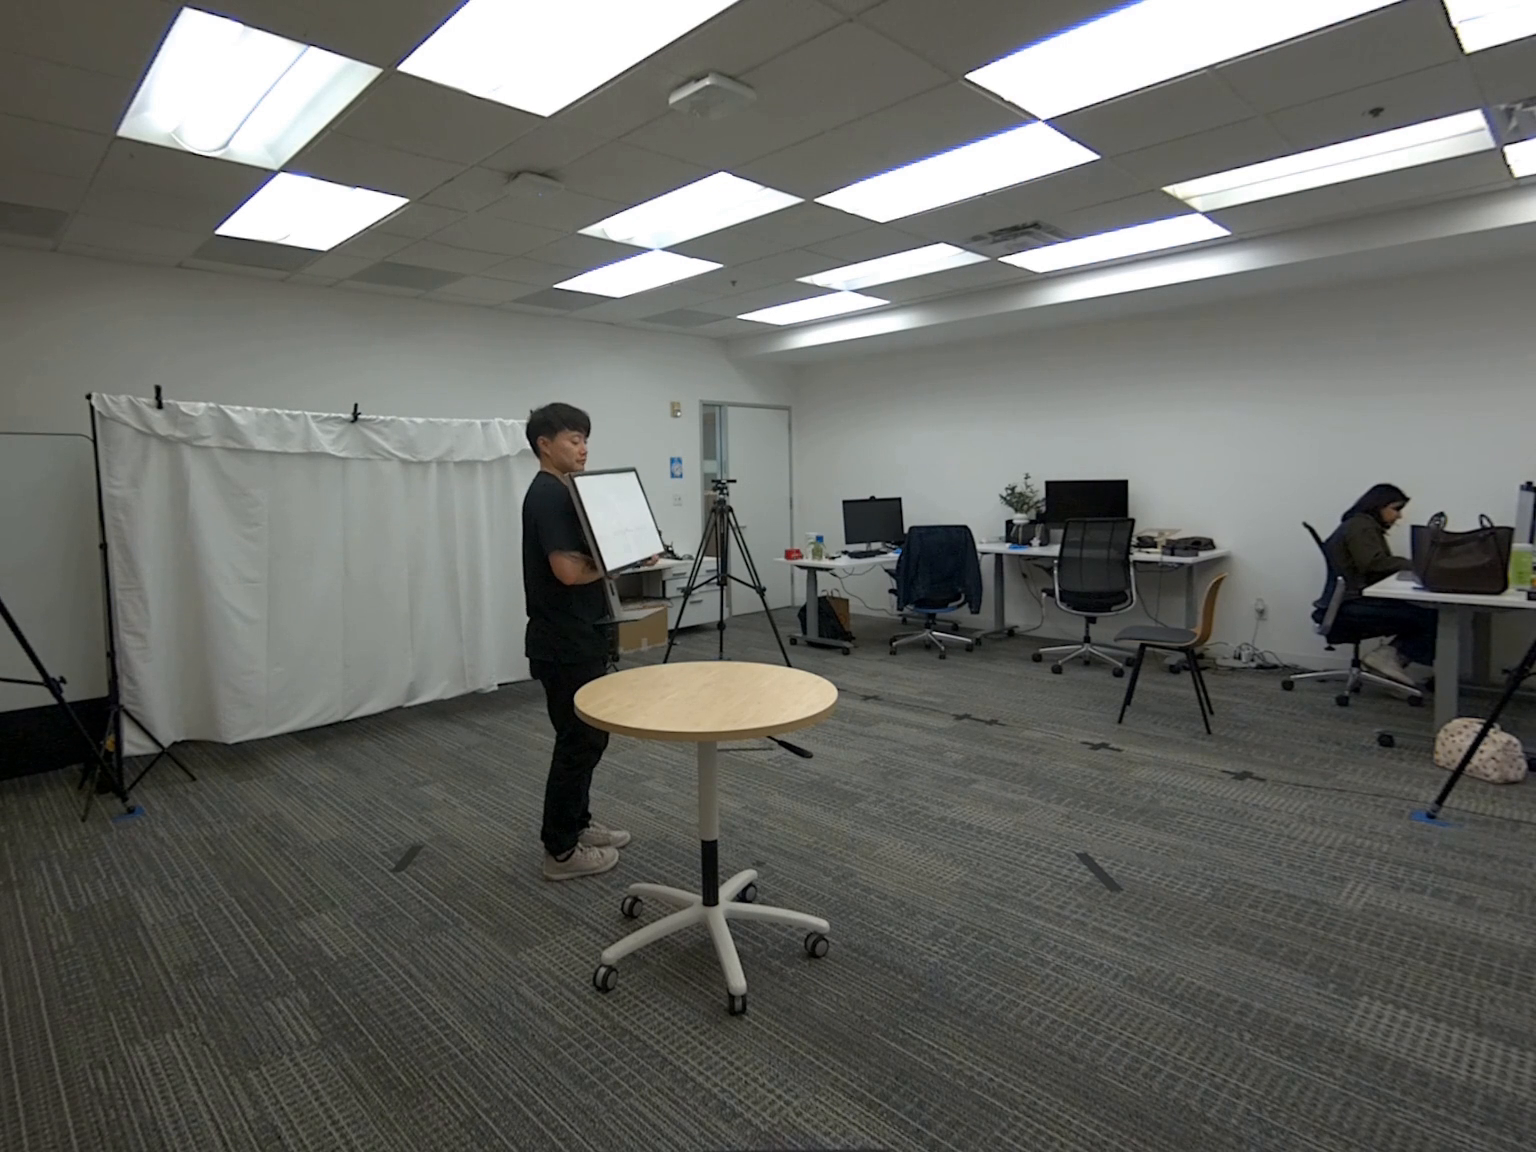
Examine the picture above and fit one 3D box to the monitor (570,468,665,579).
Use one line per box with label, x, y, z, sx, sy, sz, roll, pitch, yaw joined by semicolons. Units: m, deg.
monitor;-0.547;-0.106;3.073;0.189;0.520;0.535;-8;6;14
